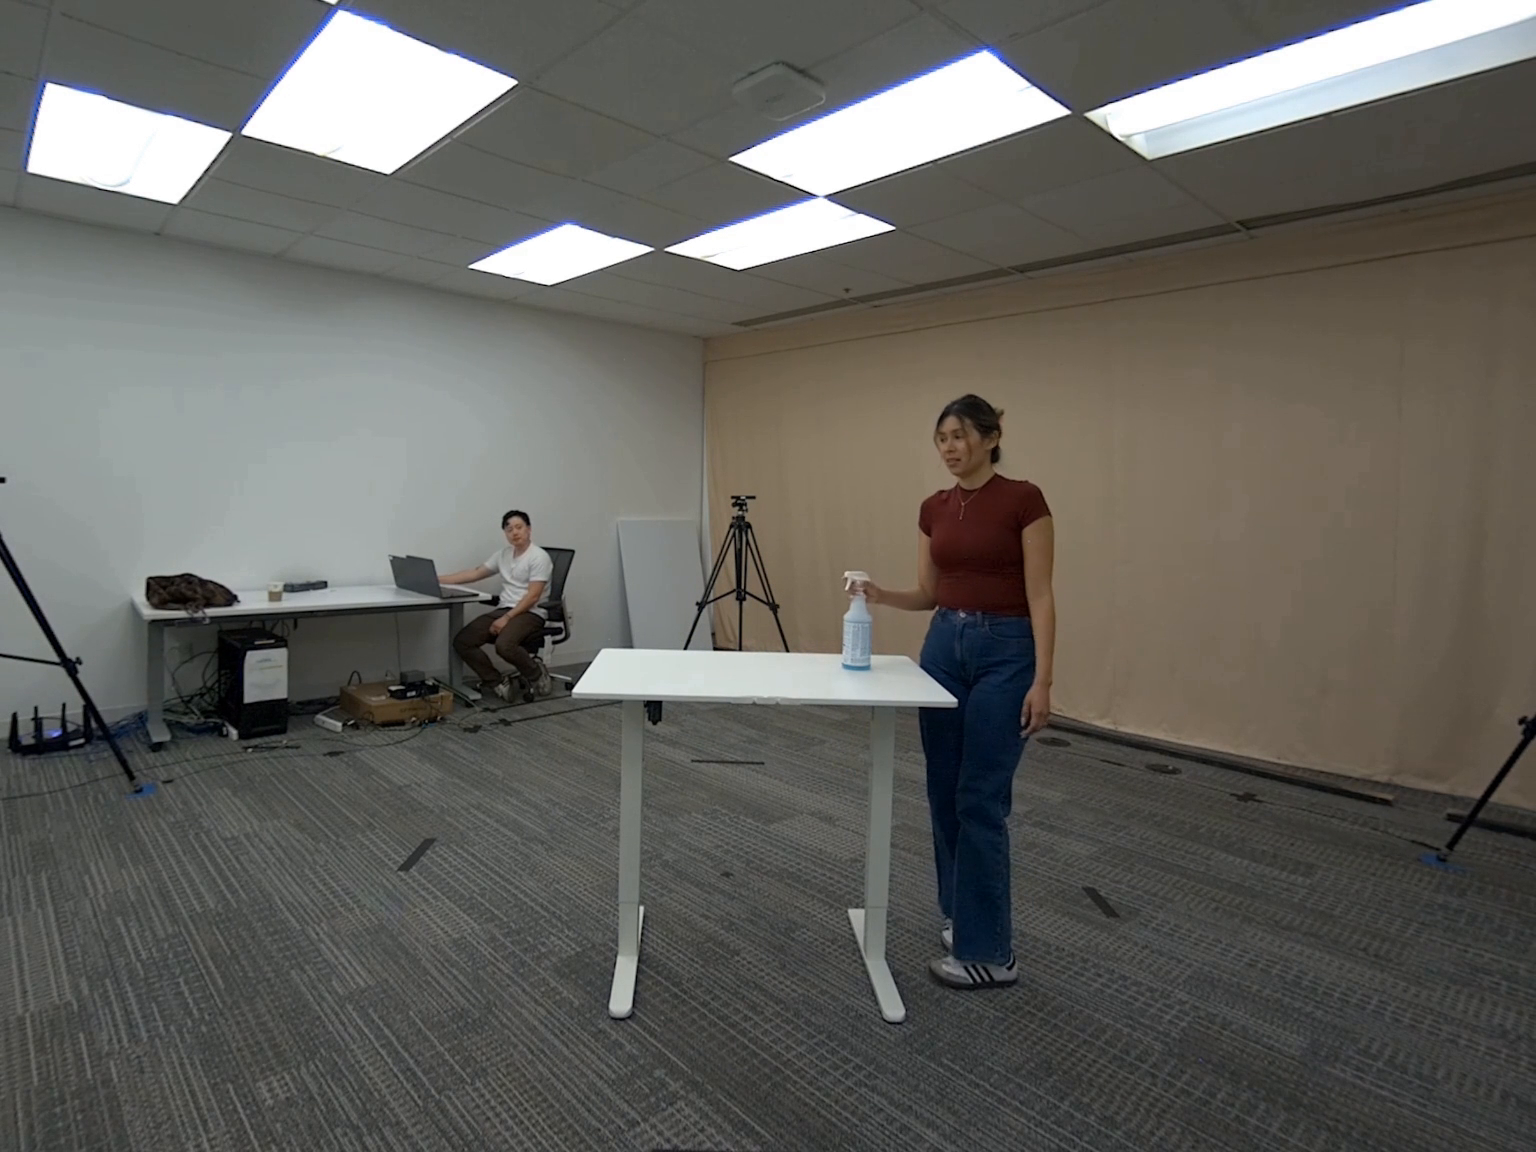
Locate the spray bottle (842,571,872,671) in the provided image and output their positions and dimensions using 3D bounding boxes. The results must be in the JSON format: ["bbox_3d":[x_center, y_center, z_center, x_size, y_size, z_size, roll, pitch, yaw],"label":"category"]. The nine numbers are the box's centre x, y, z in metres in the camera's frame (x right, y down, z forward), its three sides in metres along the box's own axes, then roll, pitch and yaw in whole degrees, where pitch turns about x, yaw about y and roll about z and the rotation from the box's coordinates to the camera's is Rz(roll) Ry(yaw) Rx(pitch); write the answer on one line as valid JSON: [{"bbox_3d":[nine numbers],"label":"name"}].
[{"bbox_3d":[0.270,0.136,2.558,0.090,0.296,0.087,-1,5,-1],"label":"spray bottle"}]
